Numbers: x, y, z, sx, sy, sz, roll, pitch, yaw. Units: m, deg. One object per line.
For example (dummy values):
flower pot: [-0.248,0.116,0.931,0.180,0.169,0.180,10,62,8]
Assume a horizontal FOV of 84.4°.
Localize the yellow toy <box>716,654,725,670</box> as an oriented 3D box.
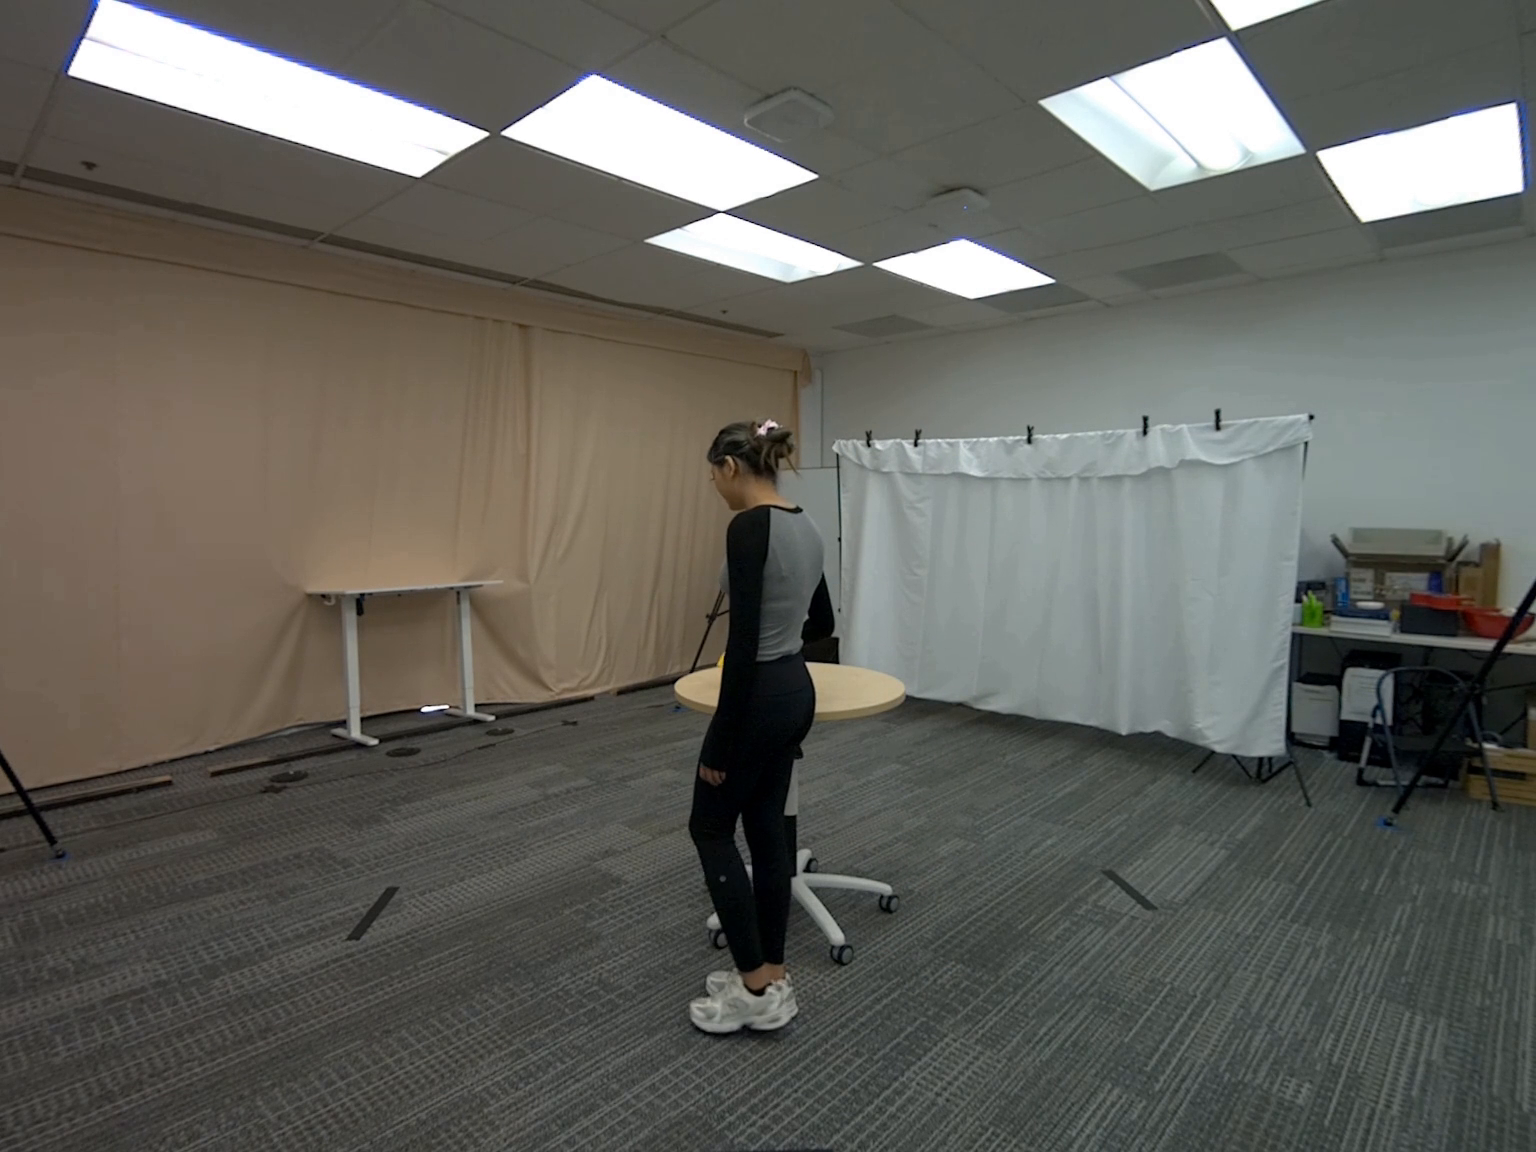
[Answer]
yellow toy: [-0.045,0.251,2.813,0.207,0.230,0.191,0,3,11]
